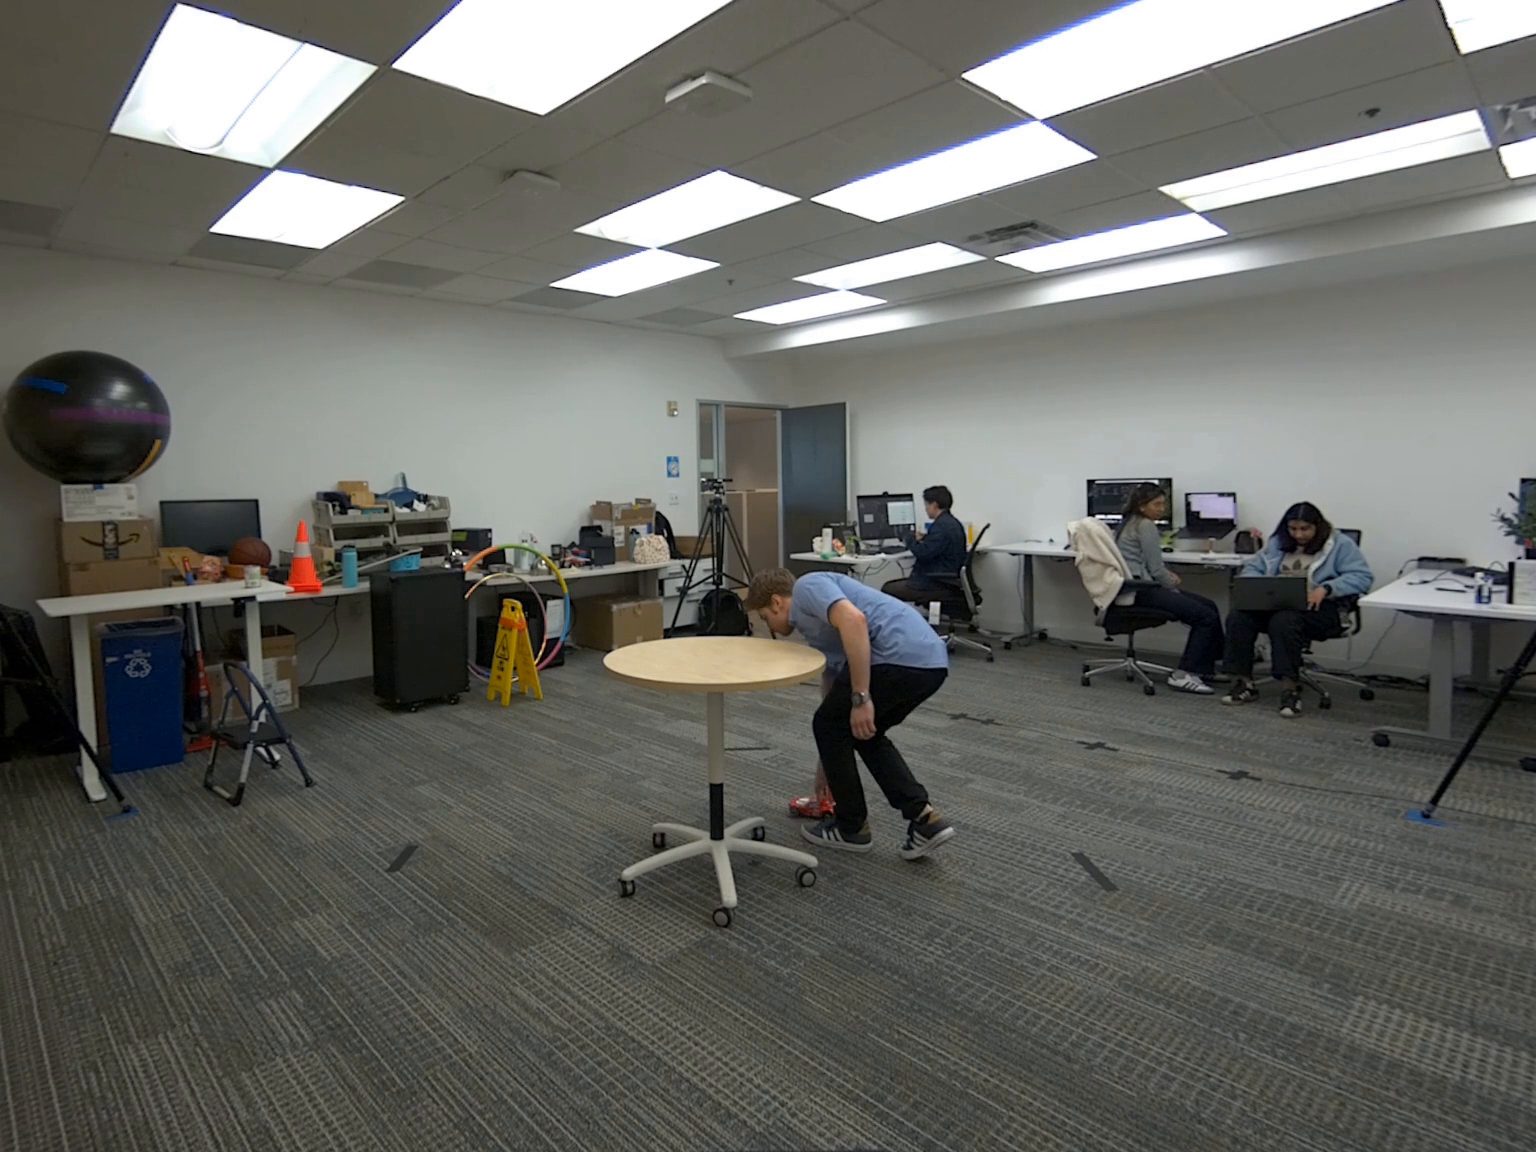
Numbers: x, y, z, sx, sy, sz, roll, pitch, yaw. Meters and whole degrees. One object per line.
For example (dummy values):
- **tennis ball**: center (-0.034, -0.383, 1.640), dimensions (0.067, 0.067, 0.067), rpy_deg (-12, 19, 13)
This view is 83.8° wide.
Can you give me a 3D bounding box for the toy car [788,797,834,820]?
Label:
- **toy car**: center (0.221, 0.964, 3.527), dimensions (0.259, 0.083, 0.128), rpy_deg (-10, 1, 28)
